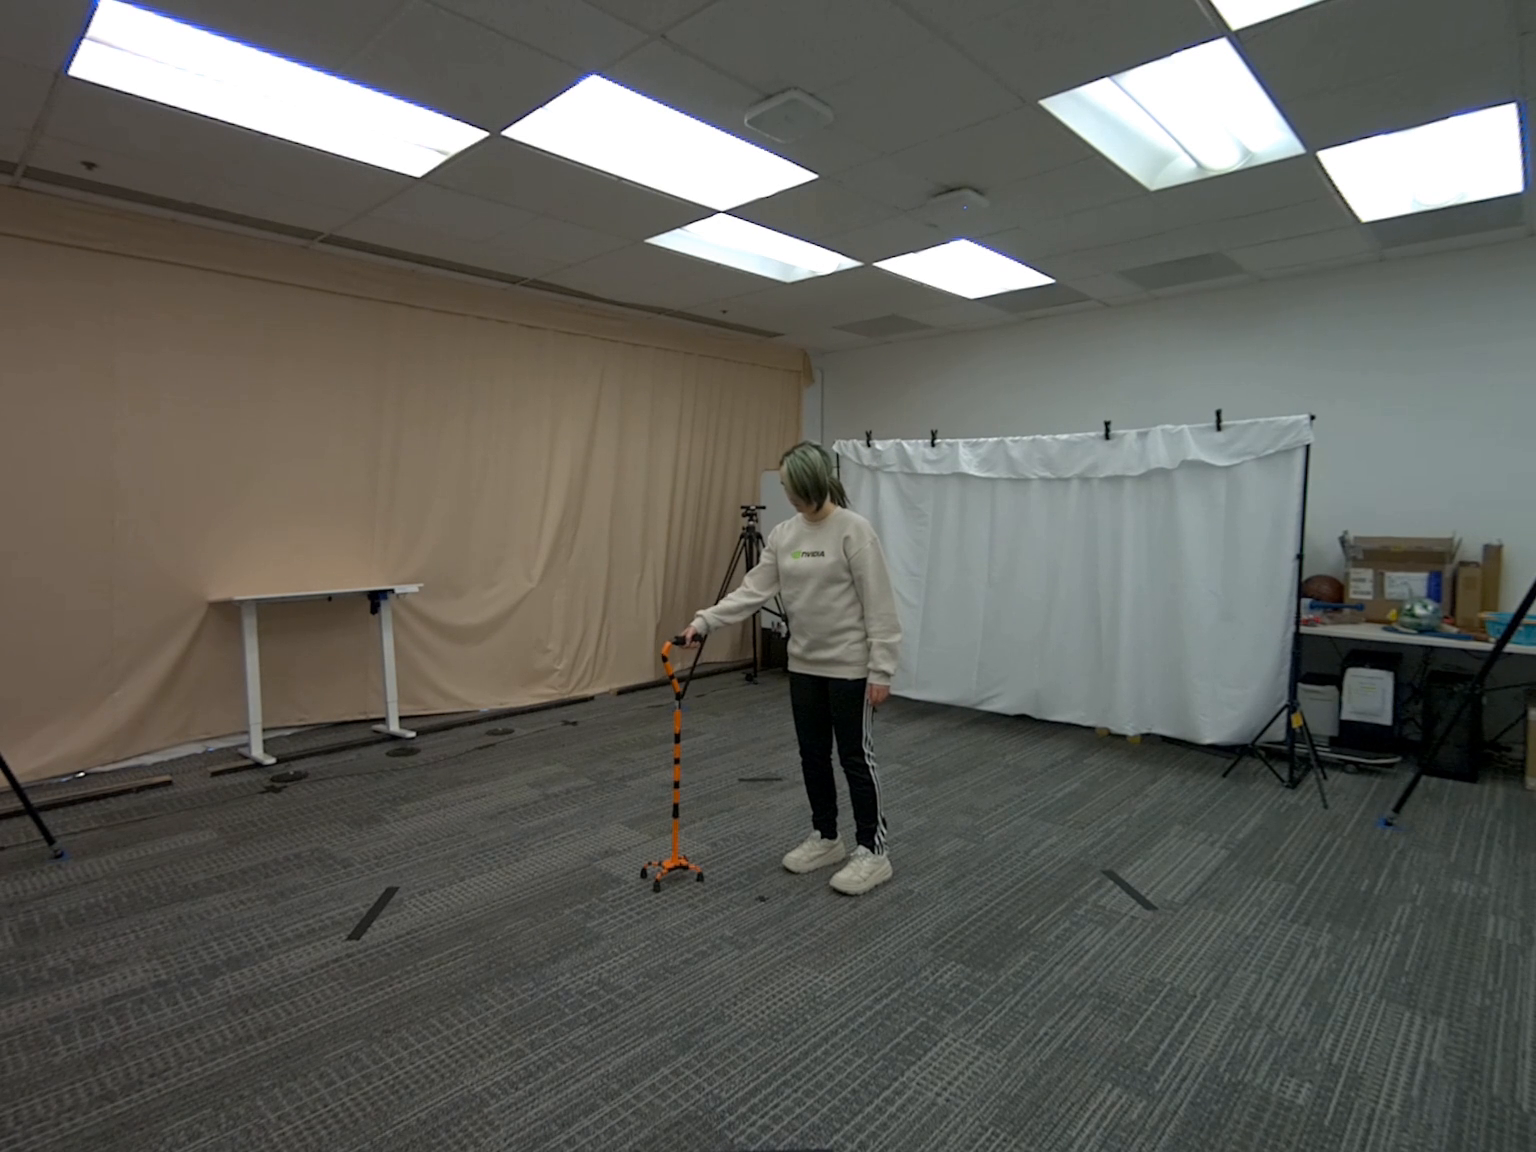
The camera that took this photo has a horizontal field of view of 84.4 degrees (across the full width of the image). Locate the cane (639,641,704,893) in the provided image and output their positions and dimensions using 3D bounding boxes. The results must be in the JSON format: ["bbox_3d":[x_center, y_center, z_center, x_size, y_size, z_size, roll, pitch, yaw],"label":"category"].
[{"bbox_3d":[-0.347,0.683,3.132,0.201,0.907,0.156,0,2,-29],"label":"cane"}]
